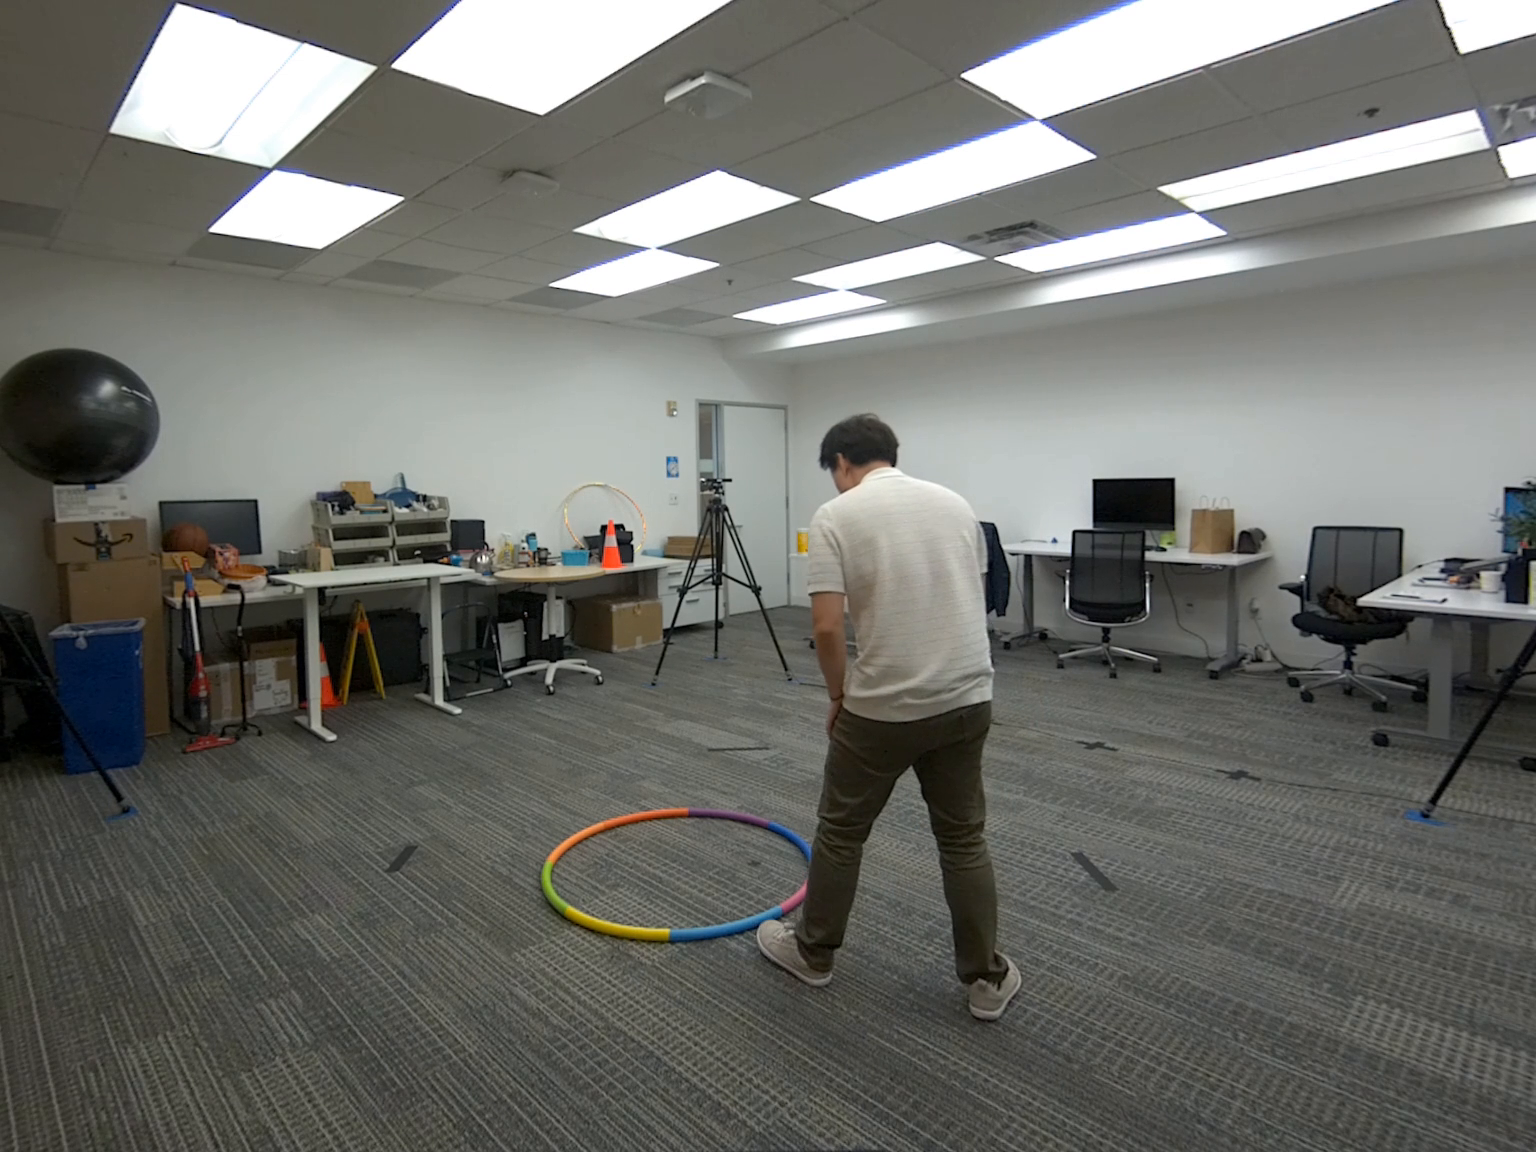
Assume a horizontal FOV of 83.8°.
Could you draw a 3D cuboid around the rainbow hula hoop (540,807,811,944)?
[{"bbox_3d":[-0.311,1.022,3.071,0.978,0.035,0.984,-1,6,-2],"label":"rainbow hula hoop"}]
